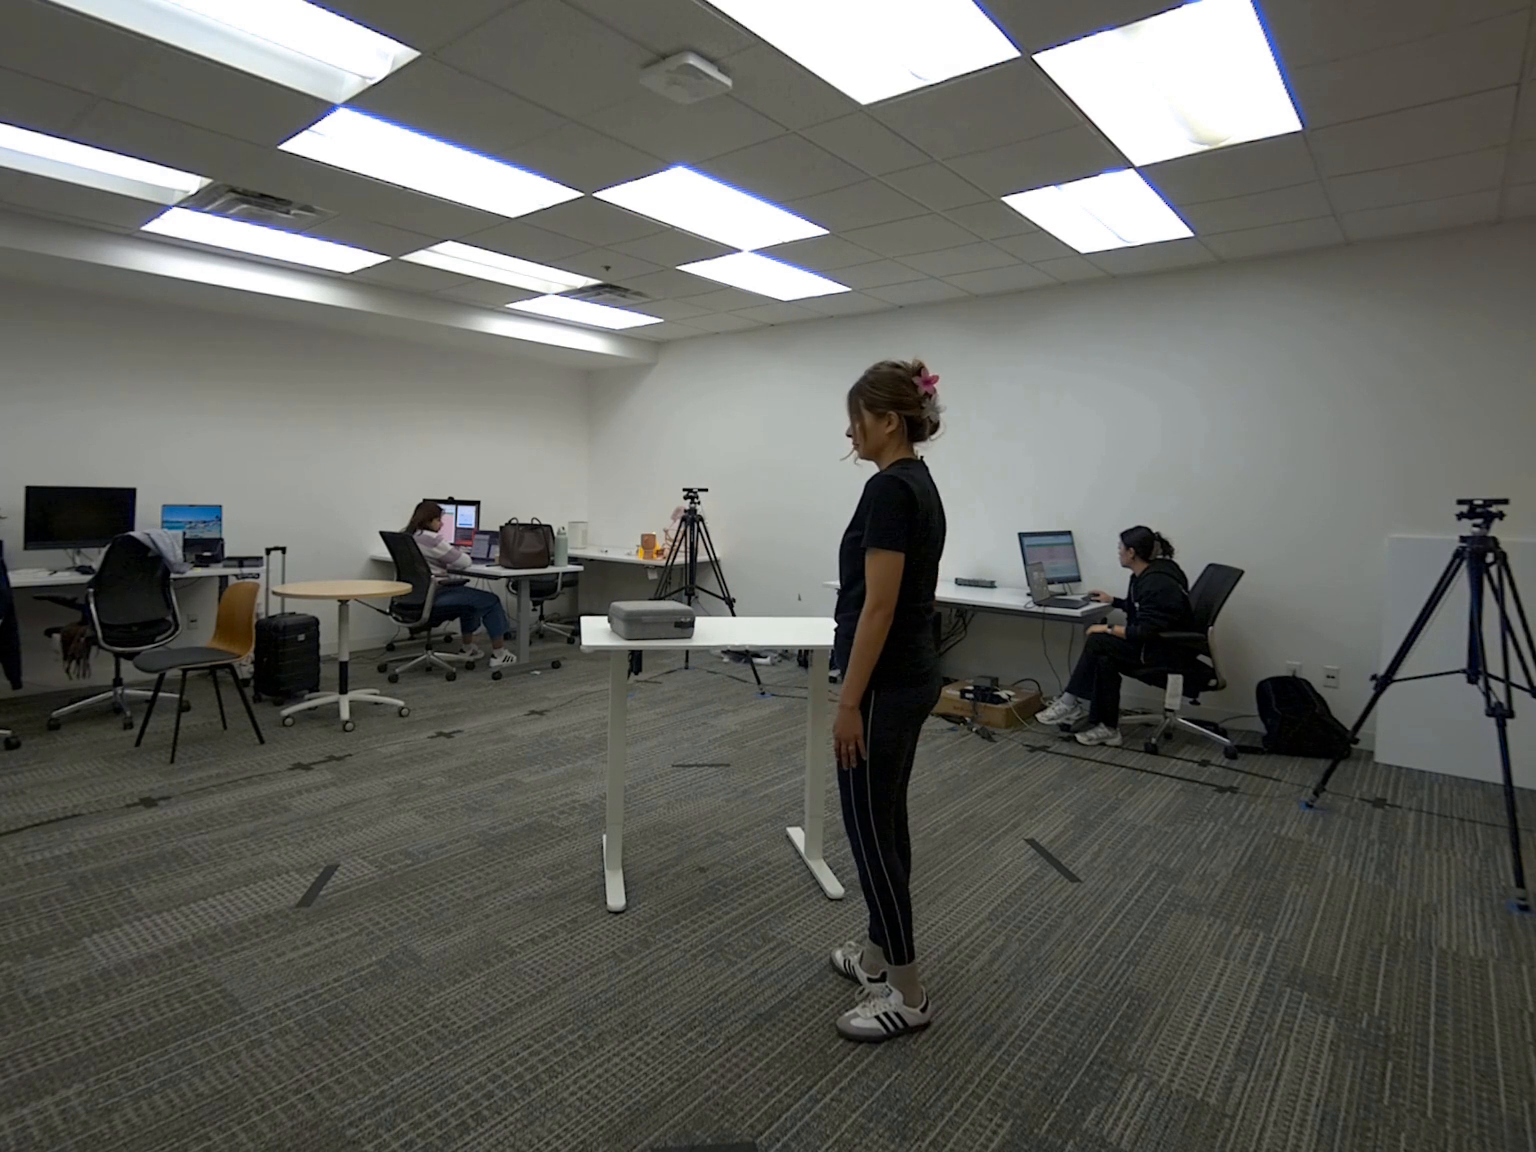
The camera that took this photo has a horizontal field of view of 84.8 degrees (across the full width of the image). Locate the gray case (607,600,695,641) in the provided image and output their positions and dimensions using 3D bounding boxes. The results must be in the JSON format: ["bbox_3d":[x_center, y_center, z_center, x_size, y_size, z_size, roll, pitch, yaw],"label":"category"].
[{"bbox_3d":[-0.415,0.145,2.941,0.251,0.104,0.267,-1,5,-22],"label":"gray case"}]
